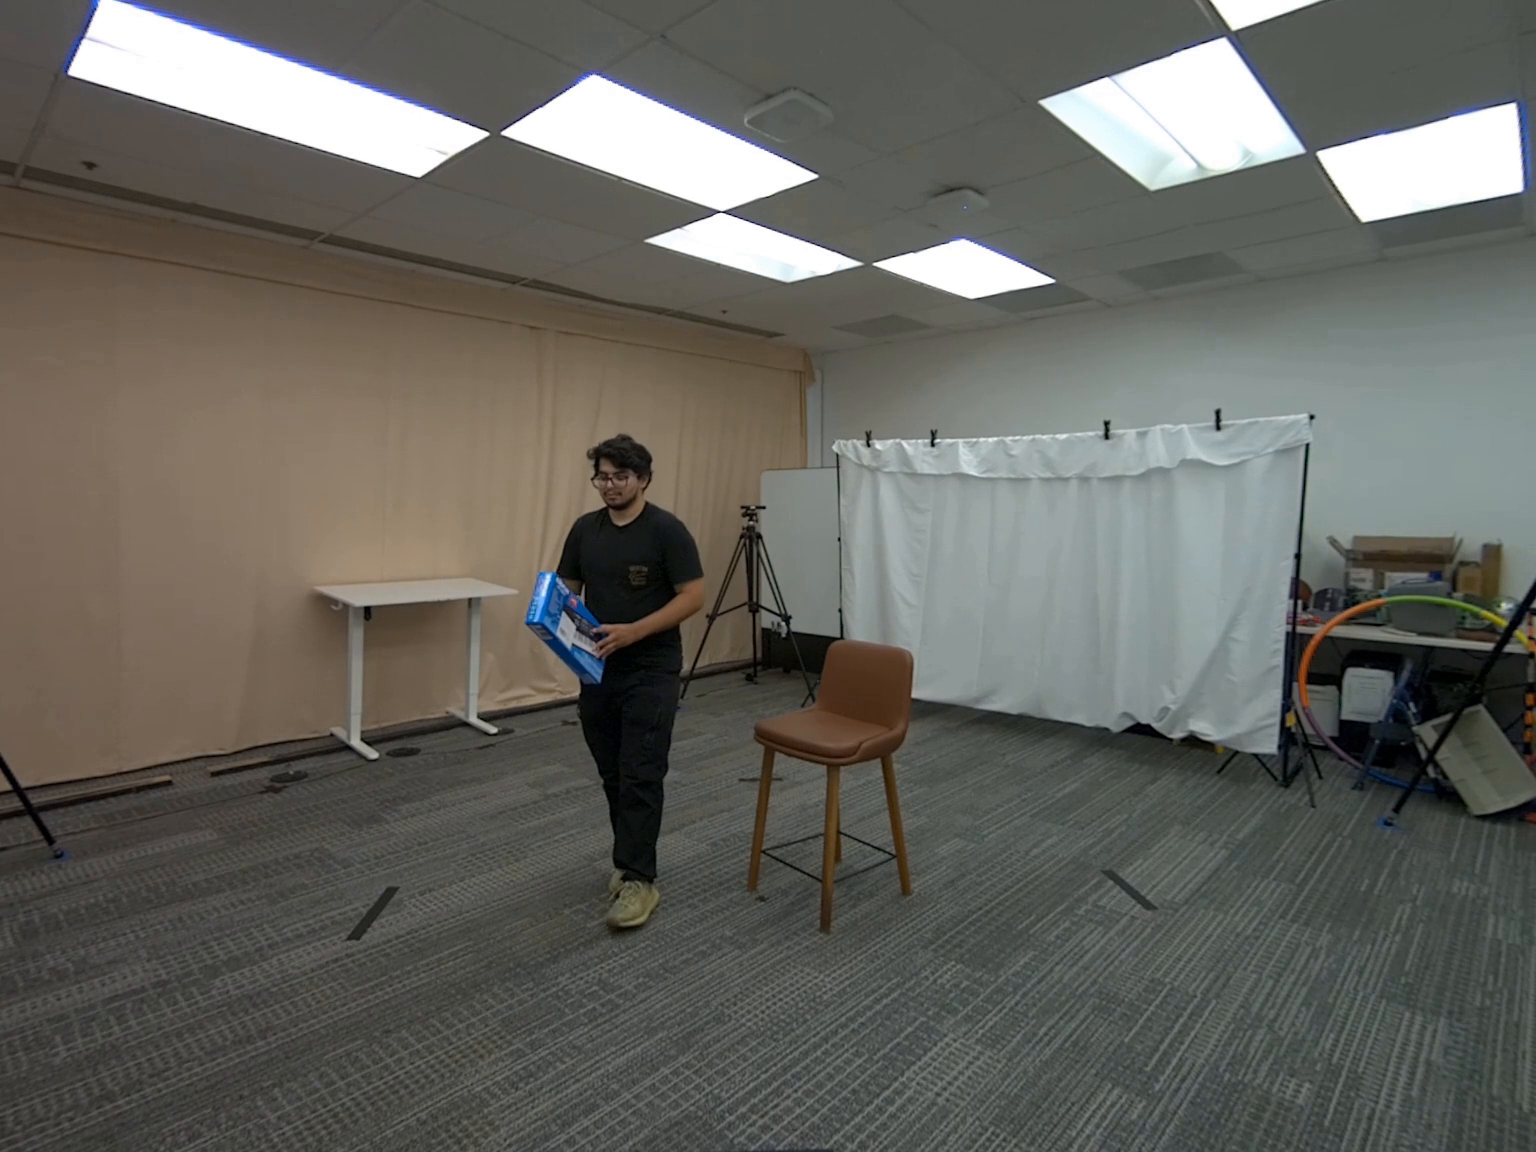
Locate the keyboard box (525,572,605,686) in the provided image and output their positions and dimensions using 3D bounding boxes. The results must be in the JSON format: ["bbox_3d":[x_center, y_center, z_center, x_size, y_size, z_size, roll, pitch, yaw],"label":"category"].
[{"bbox_3d":[-0.618,0.174,2.634,0.060,0.178,0.424,-3,-32,12],"label":"keyboard box"}]
